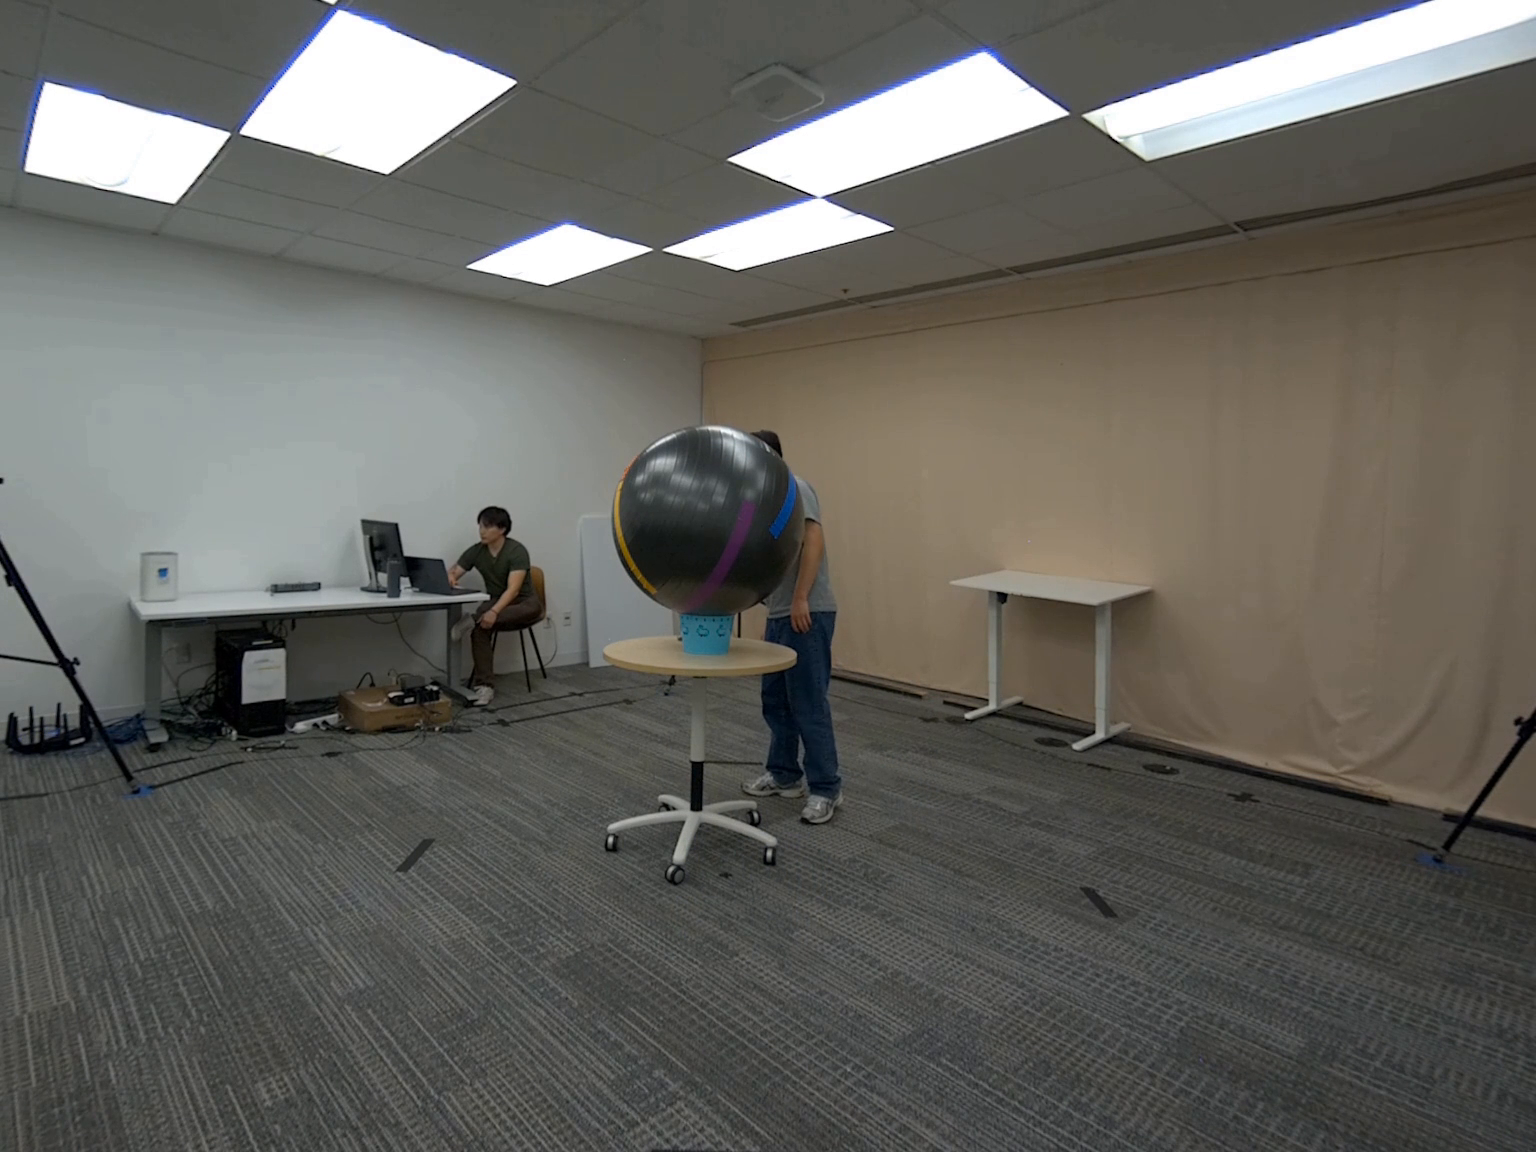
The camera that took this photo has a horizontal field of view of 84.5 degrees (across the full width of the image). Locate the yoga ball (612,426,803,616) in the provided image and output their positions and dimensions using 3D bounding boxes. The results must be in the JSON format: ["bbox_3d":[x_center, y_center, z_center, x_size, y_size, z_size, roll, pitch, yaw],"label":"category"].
[{"bbox_3d":[-0.241,-0.213,3.326,0.757,0.756,0.761,1,4,-1],"label":"yoga ball"}]
